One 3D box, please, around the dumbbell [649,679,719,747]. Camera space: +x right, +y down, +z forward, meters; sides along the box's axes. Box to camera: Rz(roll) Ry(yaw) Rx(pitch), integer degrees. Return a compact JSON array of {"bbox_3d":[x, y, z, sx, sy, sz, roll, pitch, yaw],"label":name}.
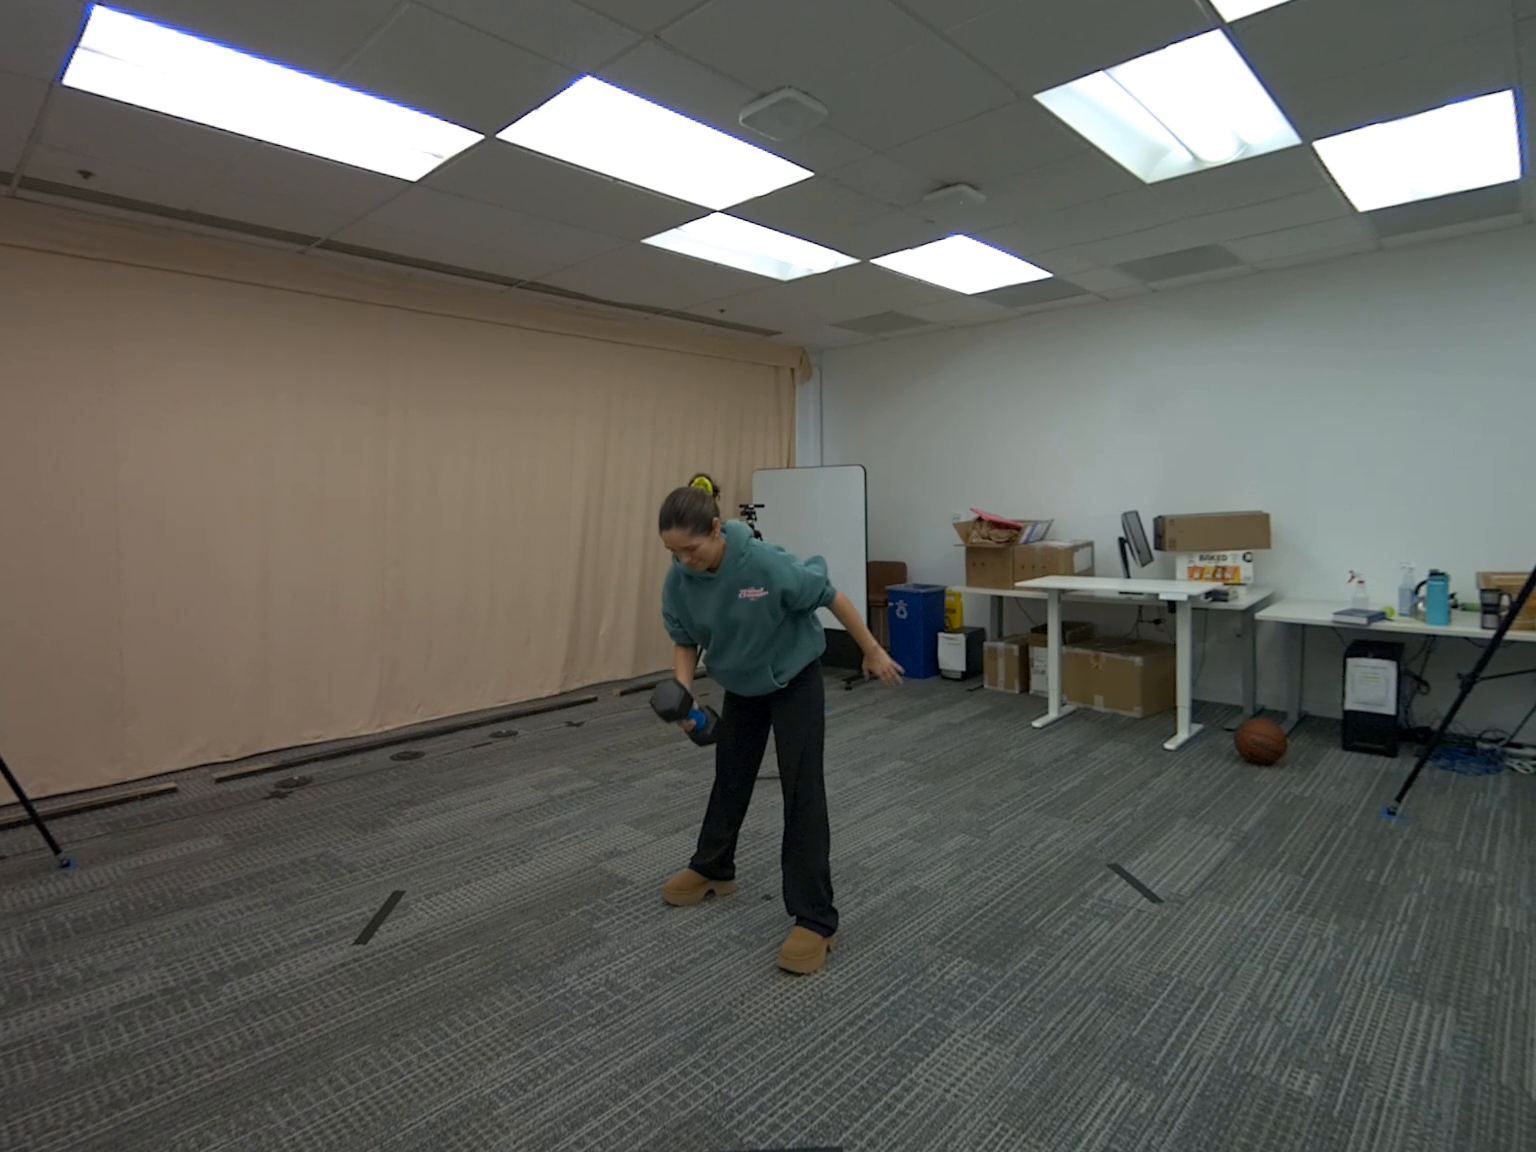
[{"bbox_3d":[-0.239,0.425,2.559,0.124,0.111,0.283,-18,-38,16],"label":"dumbbell"}]
